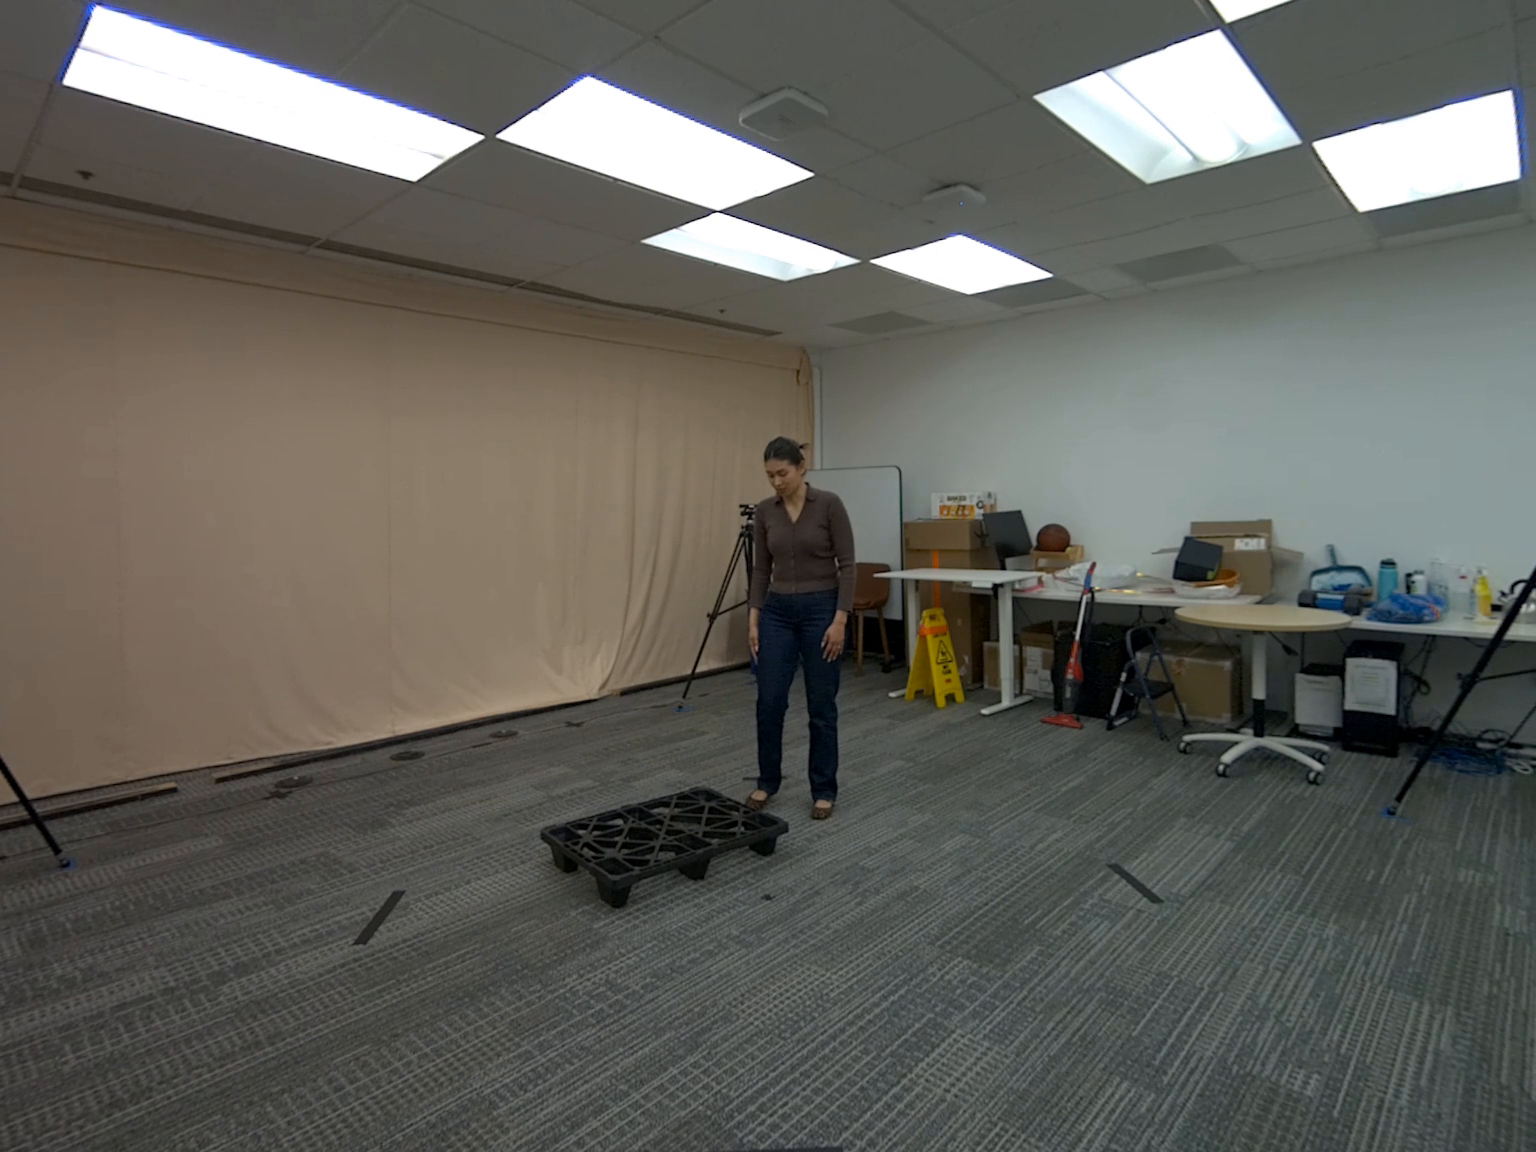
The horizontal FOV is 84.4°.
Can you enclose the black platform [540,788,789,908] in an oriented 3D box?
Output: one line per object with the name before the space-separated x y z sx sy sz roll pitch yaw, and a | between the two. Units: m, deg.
black platform | -0.401 1.053 3.321 0.782 0.143 0.625 -5 7 -38
